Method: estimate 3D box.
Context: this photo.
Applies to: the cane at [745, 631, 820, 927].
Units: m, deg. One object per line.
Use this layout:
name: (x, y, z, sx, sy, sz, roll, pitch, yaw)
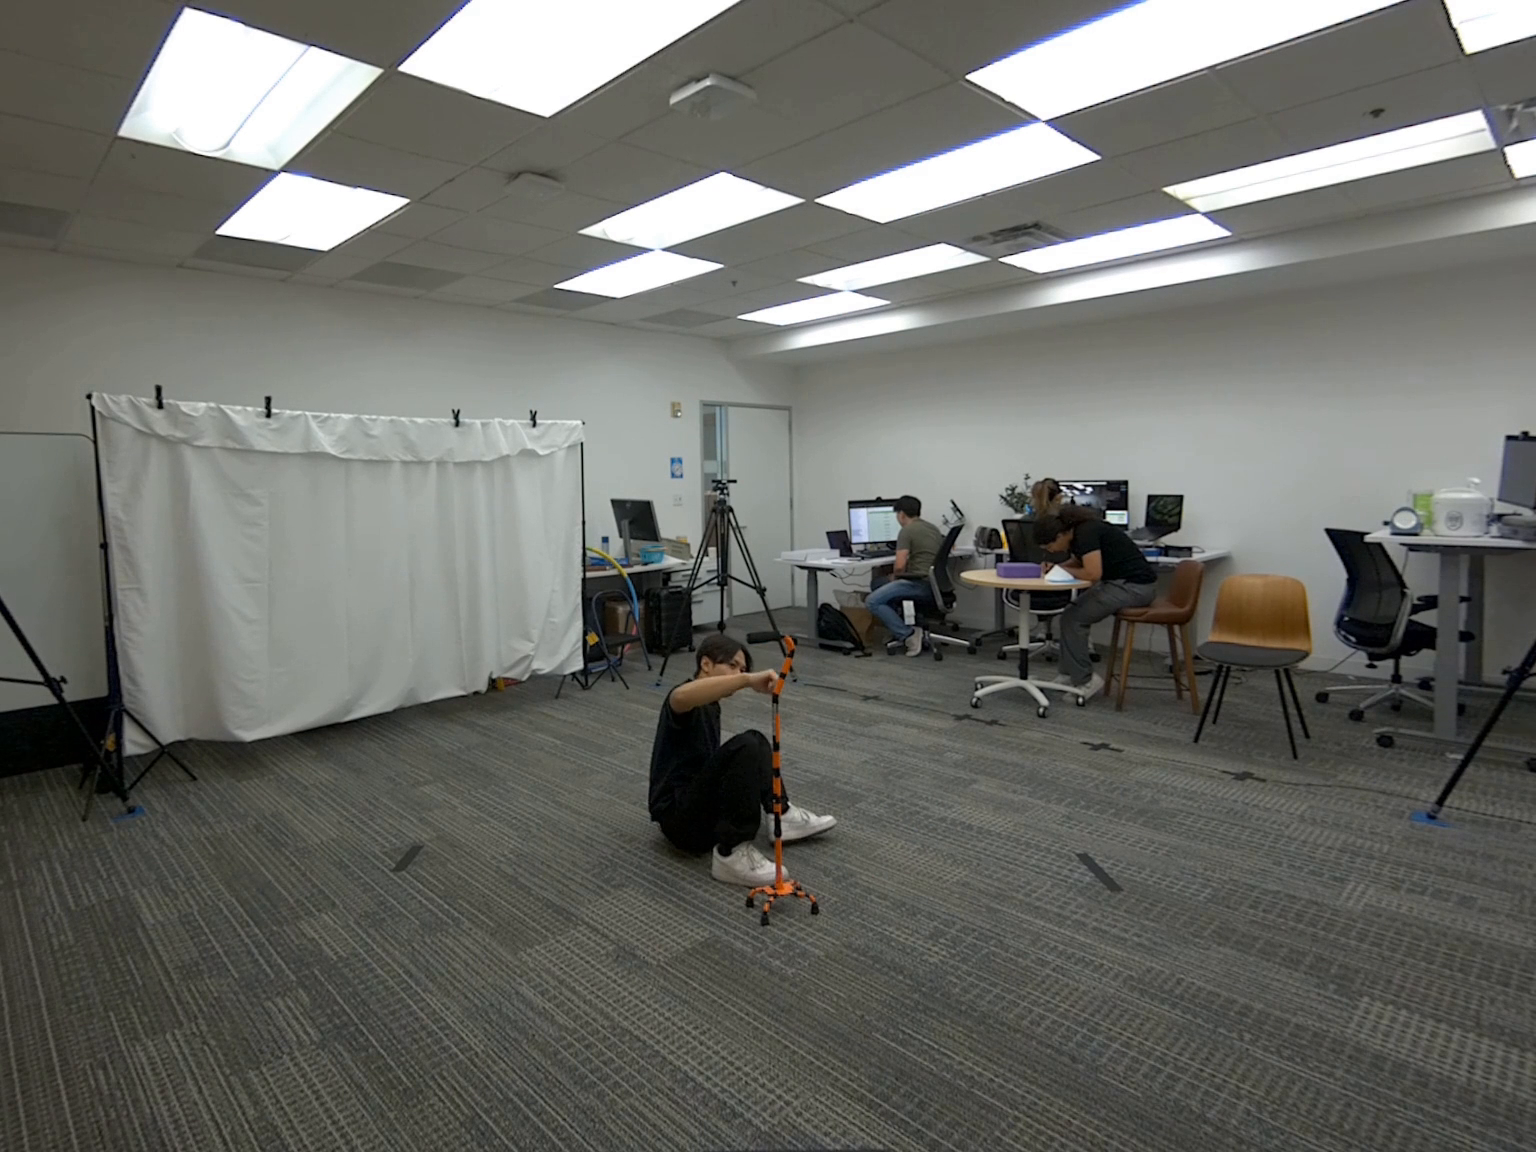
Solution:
cane: (0.042, 0.632, 2.750, 0.202, 0.905, 0.155, -2, 4, -24)
